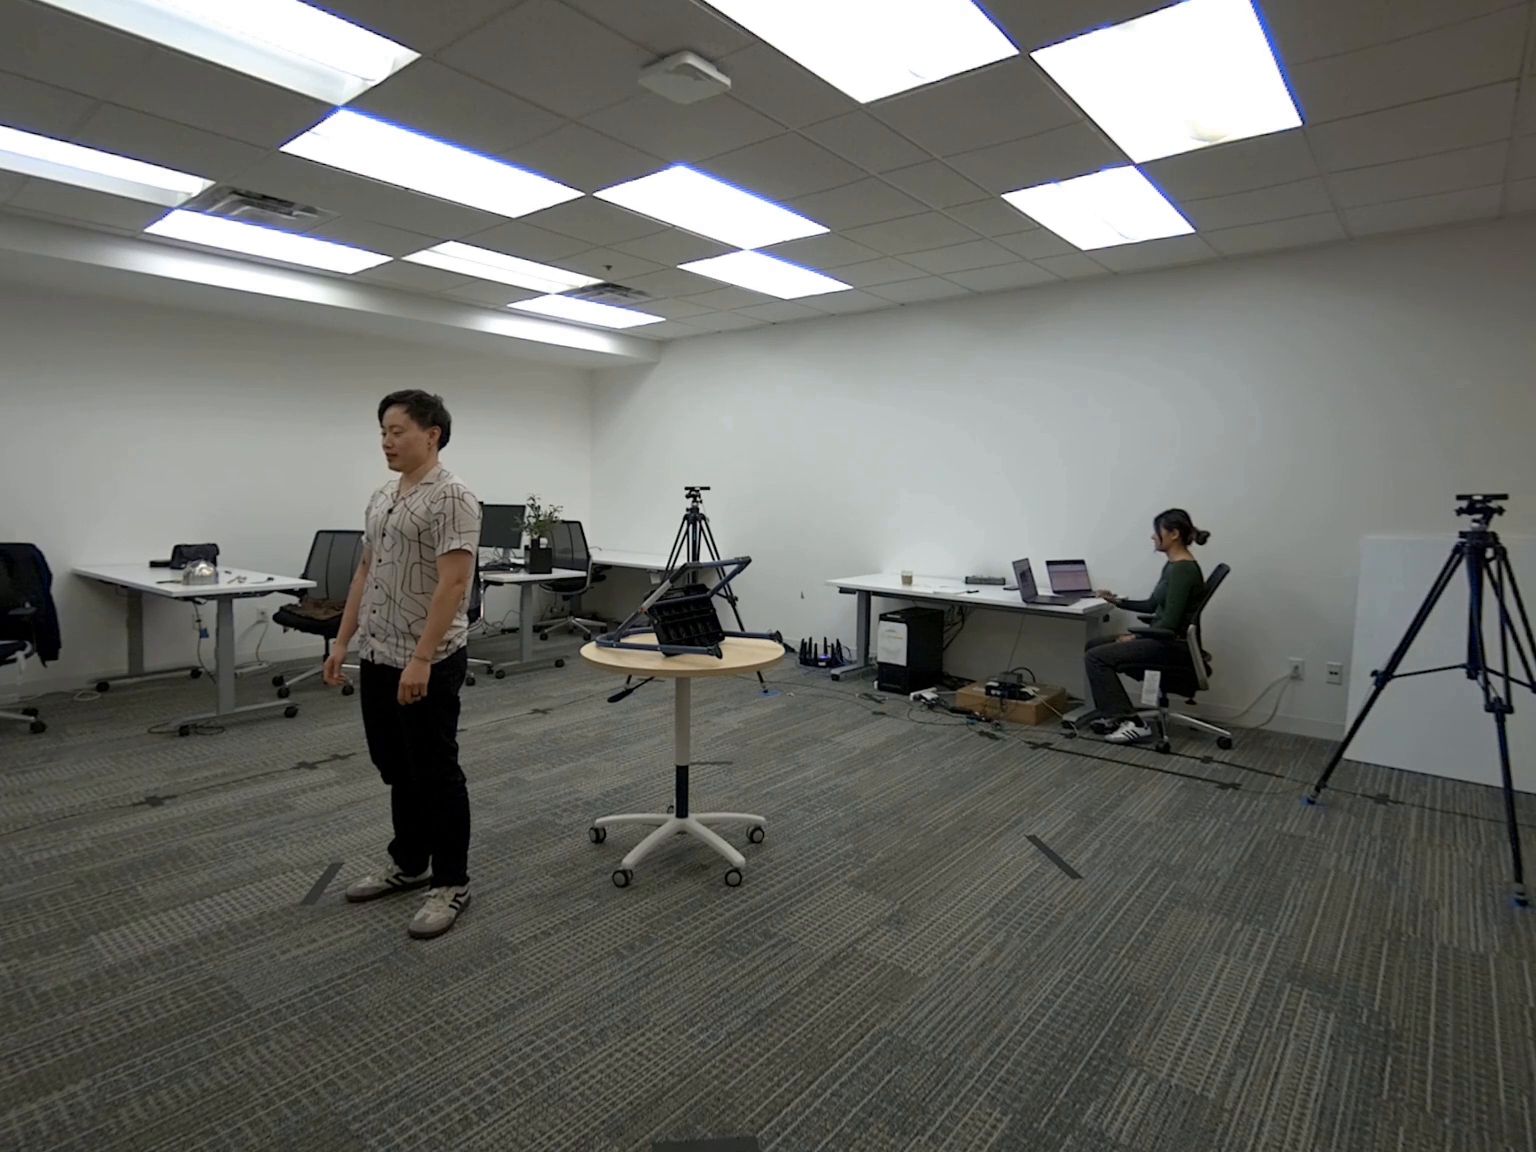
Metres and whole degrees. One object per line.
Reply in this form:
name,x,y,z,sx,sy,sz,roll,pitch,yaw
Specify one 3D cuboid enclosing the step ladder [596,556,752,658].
step ladder,-0.358,0.204,3.223,0.615,0.354,0.419,-25,-11,32
